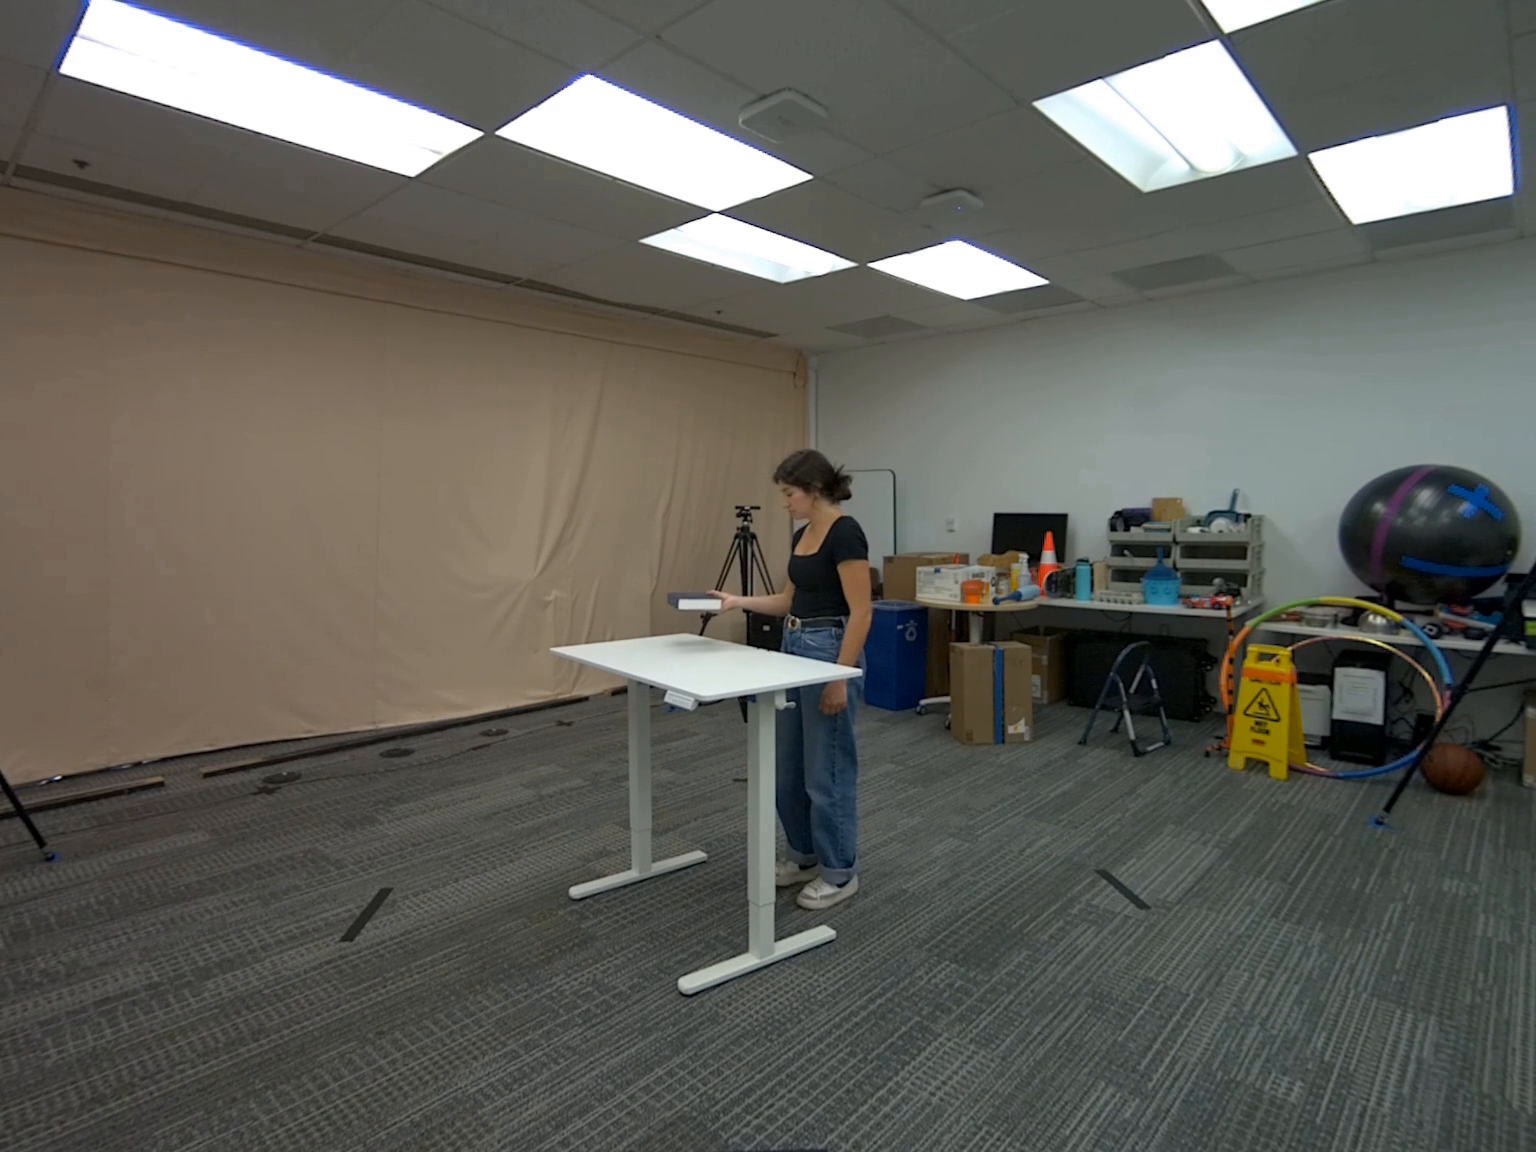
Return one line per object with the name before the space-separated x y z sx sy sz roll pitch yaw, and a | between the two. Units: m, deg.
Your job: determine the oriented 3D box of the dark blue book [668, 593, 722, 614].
dark blue book | -0.263 0.094 3.119 0.163 0.045 0.246 0 3 -5
